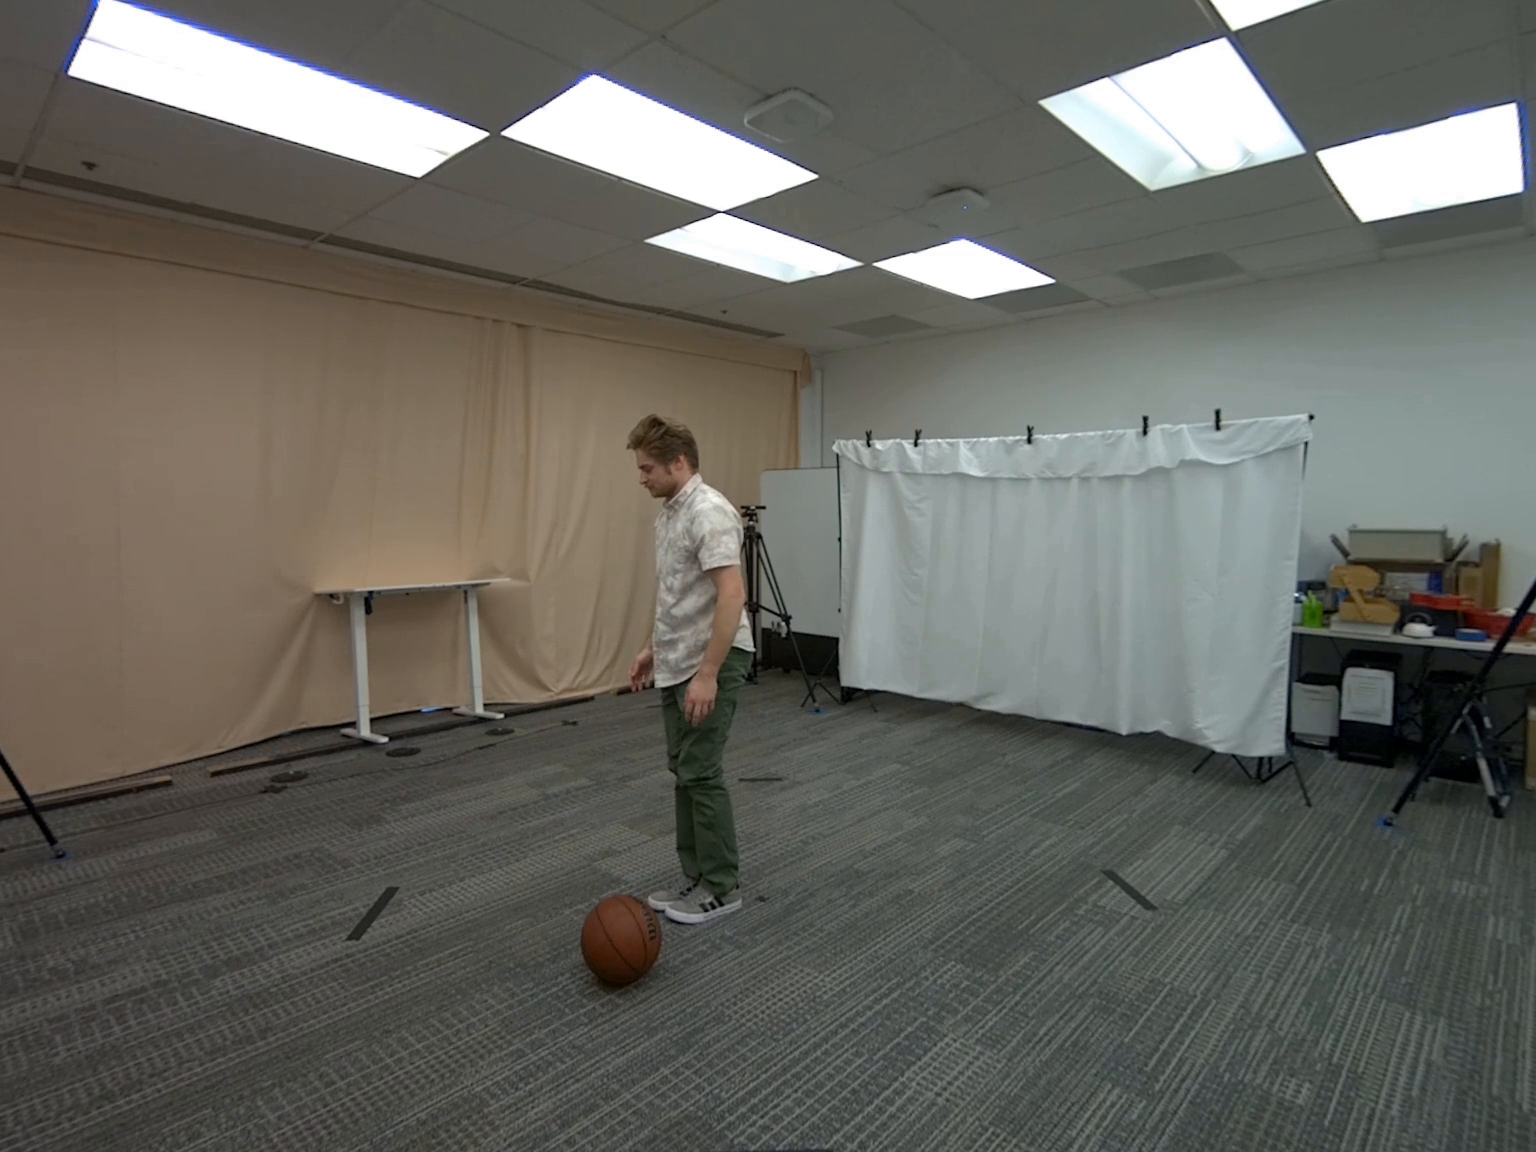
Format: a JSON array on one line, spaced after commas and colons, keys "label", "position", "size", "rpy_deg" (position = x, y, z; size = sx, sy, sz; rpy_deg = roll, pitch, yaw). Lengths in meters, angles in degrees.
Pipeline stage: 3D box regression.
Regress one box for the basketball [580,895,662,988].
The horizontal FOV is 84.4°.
[{"label": "basketball", "position": [-0.427, 1.067, 2.474], "size": [0.236, 0.235, 0.237], "rpy_deg": [0, 4, -2]}]
